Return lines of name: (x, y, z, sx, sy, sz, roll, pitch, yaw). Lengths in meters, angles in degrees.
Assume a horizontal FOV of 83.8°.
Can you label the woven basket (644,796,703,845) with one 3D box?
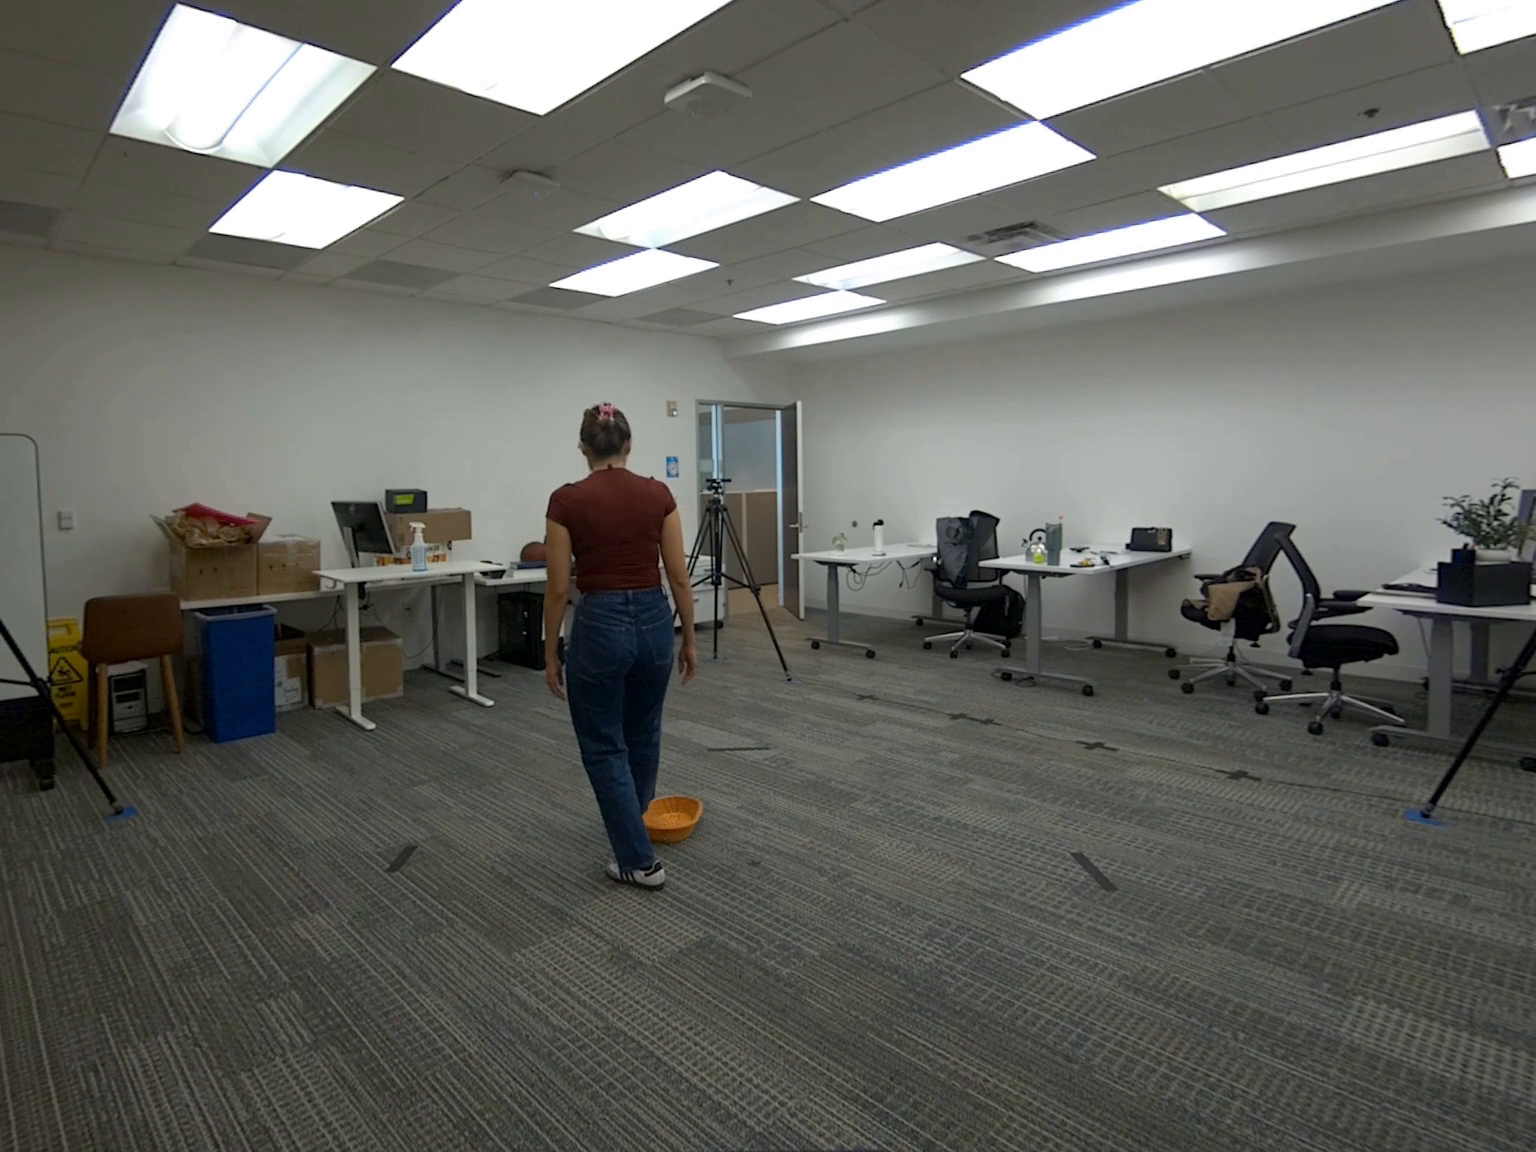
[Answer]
woven basket: (-0.395, 0.972, 3.419, 0.254, 0.073, 0.349, -1, 6, 7)
